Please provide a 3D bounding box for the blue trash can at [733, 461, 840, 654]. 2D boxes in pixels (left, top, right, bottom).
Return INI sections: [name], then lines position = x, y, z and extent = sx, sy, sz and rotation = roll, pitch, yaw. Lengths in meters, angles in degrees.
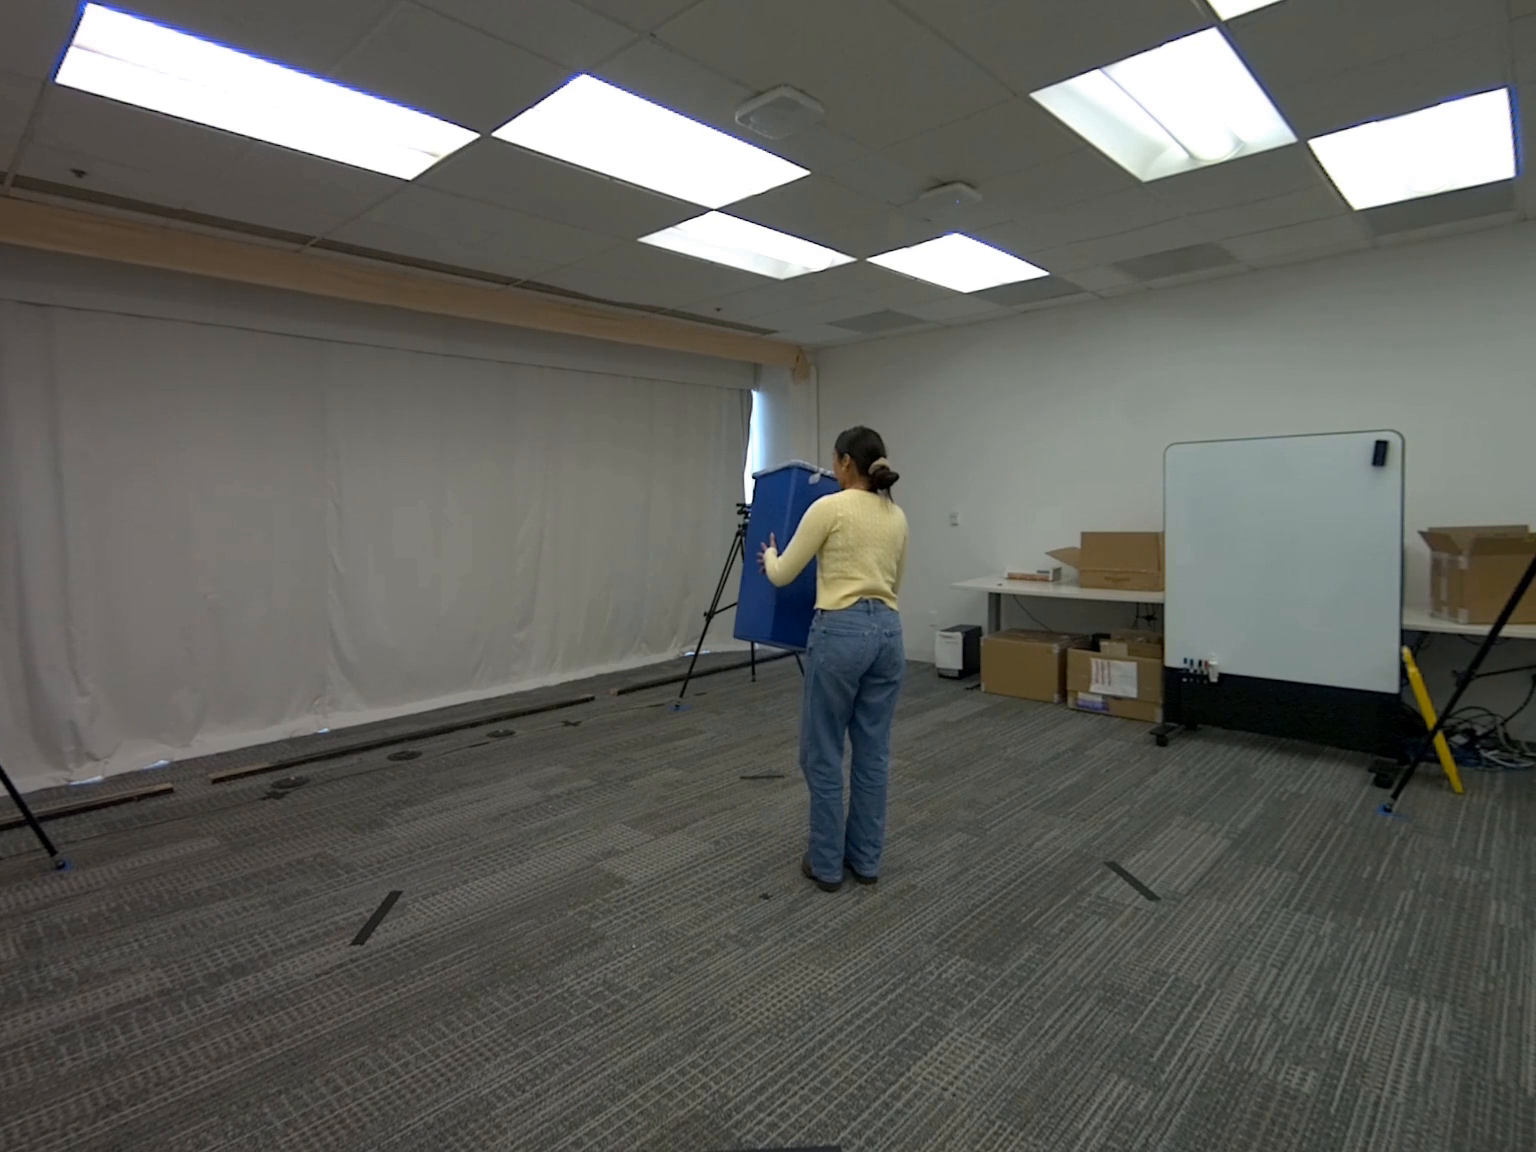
[blue trash can]
position = 0.108, -0.068, 3.476
extent = 0.368, 0.716, 0.383
rotation = 15, -10, -26
